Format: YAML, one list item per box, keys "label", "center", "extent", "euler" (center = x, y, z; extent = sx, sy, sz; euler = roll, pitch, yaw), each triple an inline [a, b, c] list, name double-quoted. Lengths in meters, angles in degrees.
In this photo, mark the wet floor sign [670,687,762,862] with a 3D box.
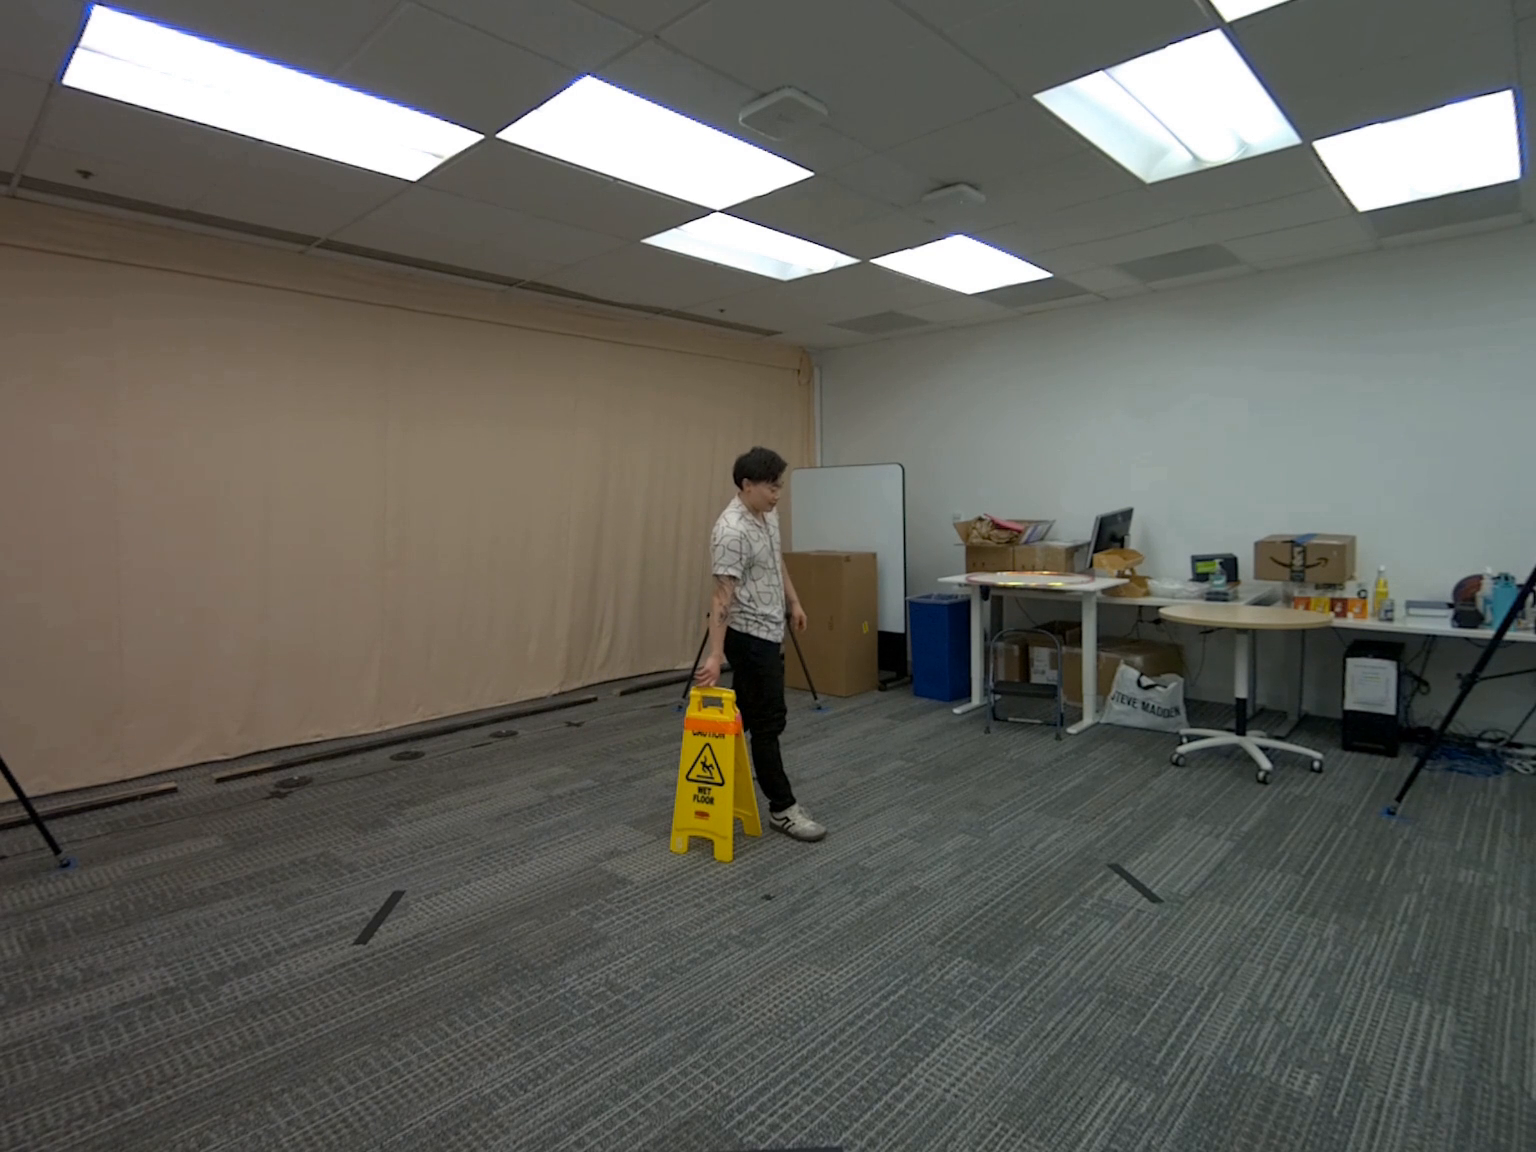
- label: "wet floor sign"
  center: [-0.218, 0.778, 3.454]
  extent: [0.289, 0.644, 0.283]
  euler: [-1, 4, 26]
